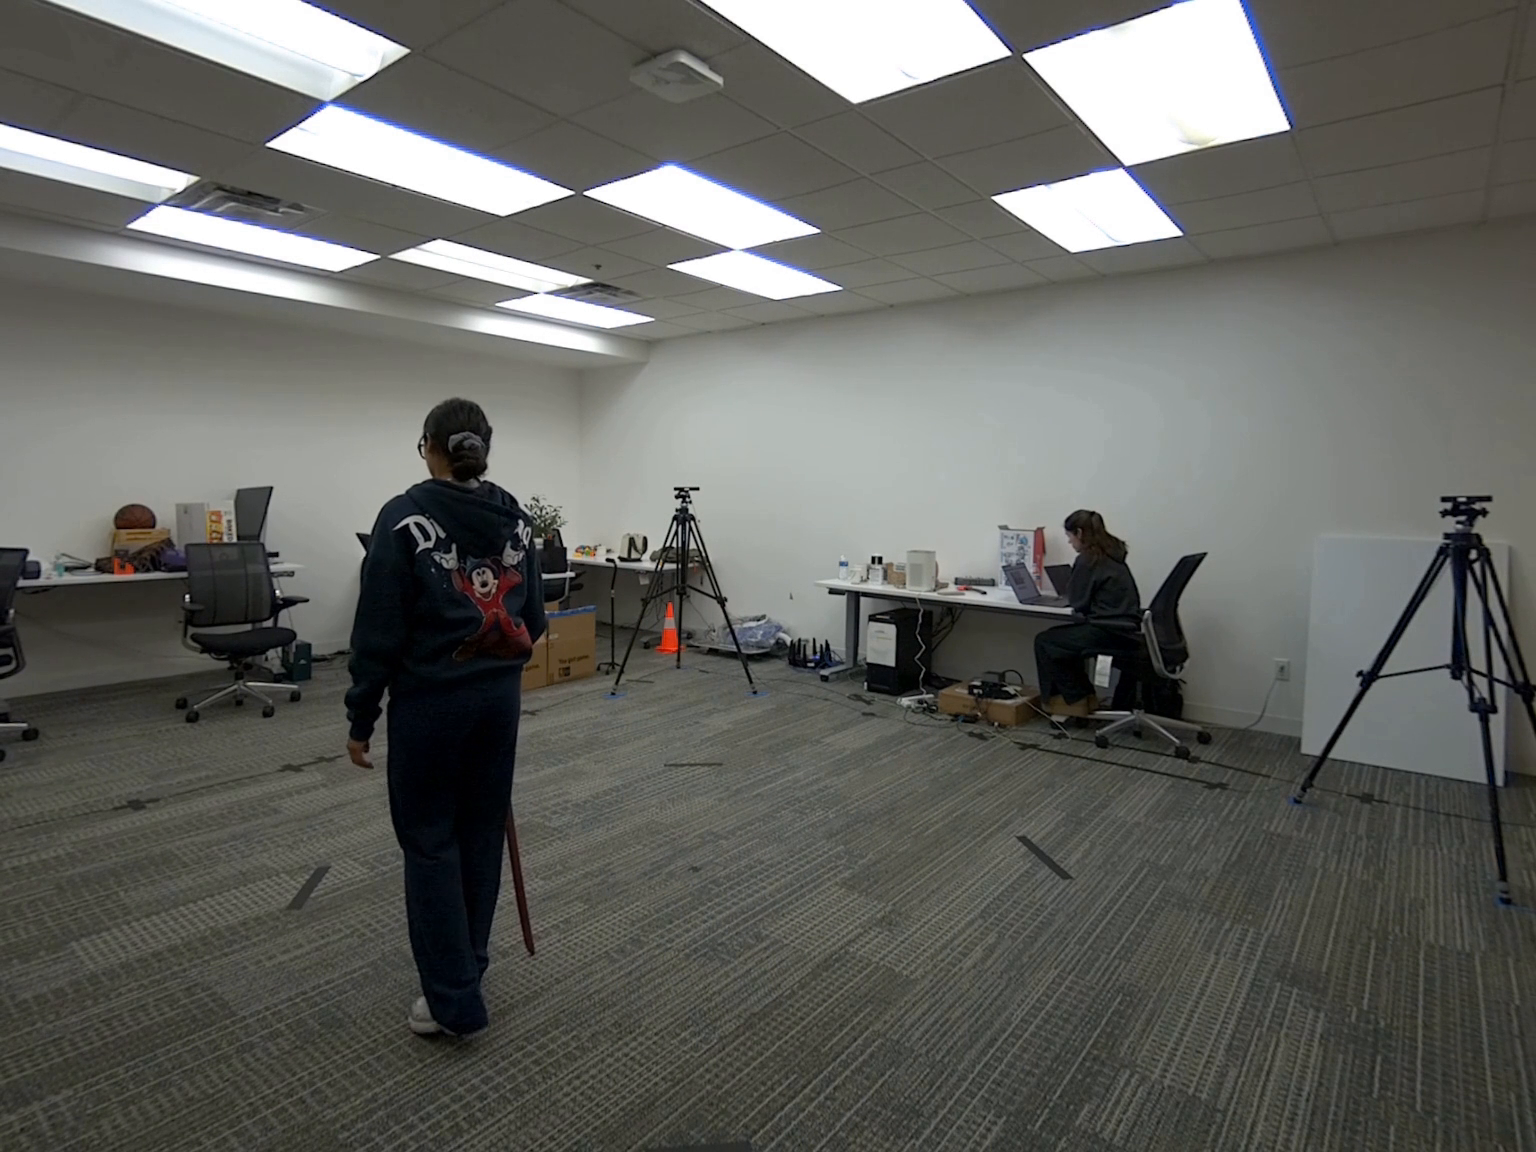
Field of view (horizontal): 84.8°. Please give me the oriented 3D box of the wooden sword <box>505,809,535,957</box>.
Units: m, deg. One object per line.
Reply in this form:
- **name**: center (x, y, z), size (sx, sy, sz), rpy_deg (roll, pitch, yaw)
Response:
- **wooden sword**: center (-0.793, 0.622, 2.575), size (0.024, 1.035, 0.050), rpy_deg (-16, -11, 37)
